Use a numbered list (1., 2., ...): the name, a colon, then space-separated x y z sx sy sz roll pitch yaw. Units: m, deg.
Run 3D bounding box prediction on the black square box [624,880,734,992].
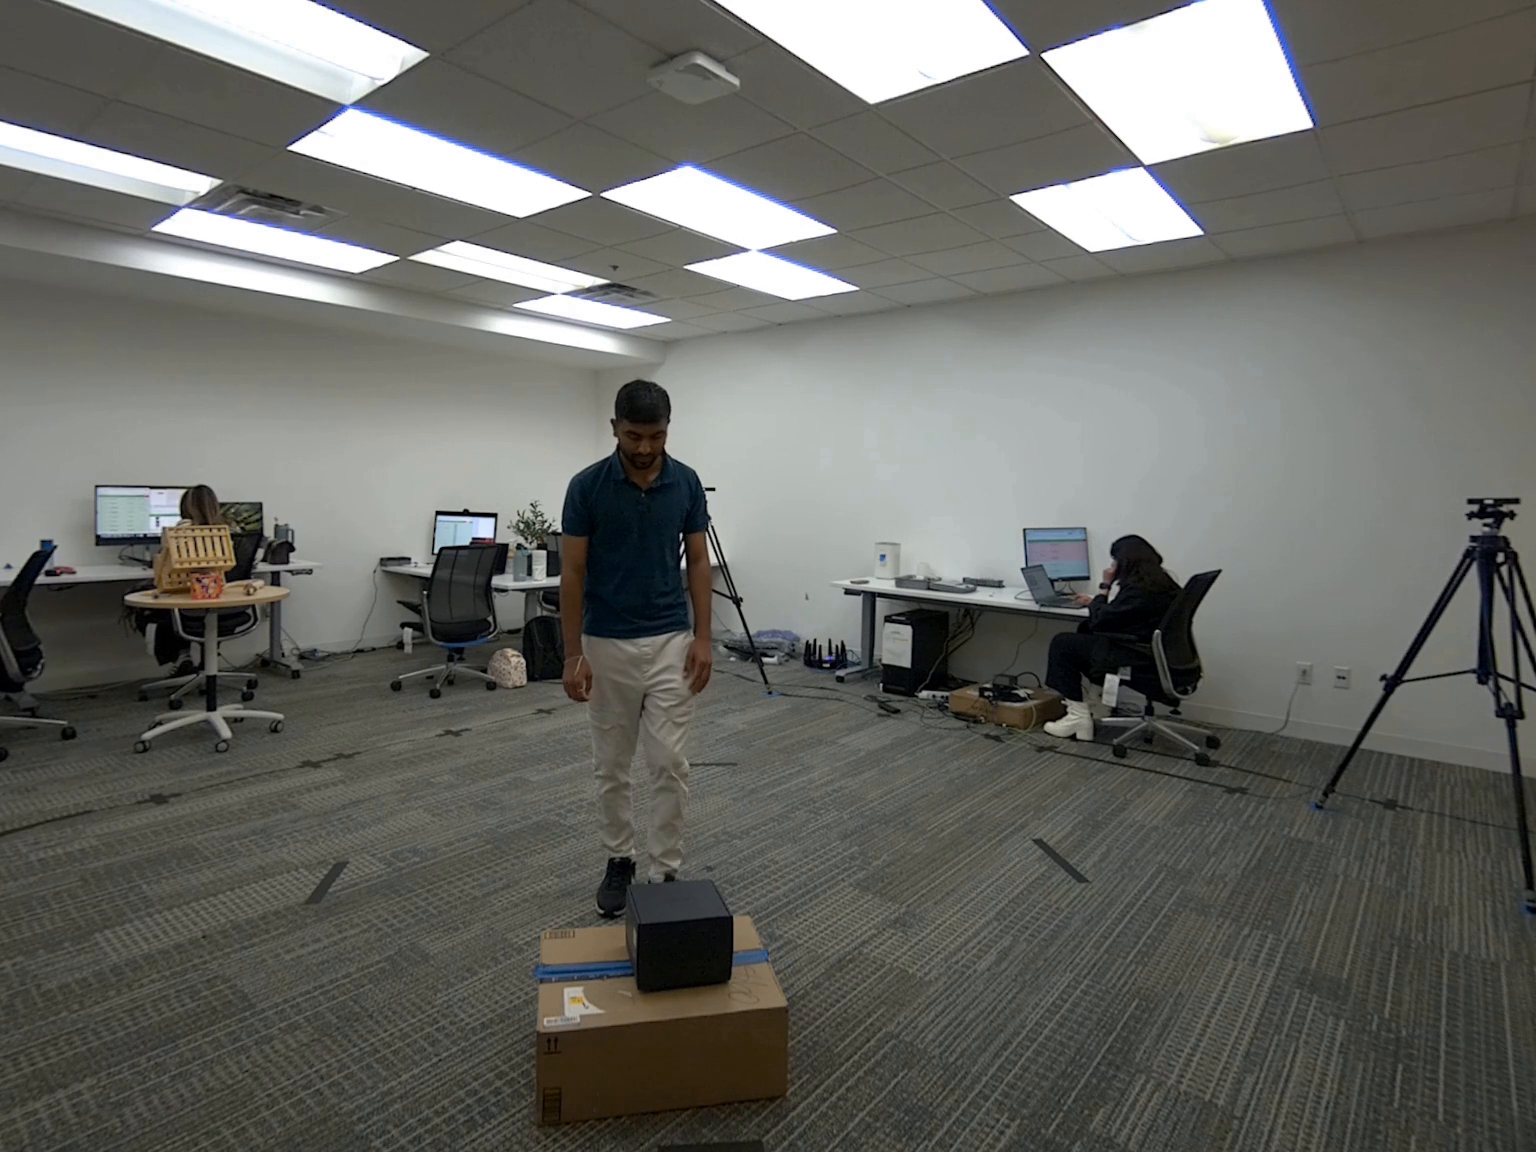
1. black square box: -0.228 0.867 2.097 0.224 0.155 0.221 1 3 -16
